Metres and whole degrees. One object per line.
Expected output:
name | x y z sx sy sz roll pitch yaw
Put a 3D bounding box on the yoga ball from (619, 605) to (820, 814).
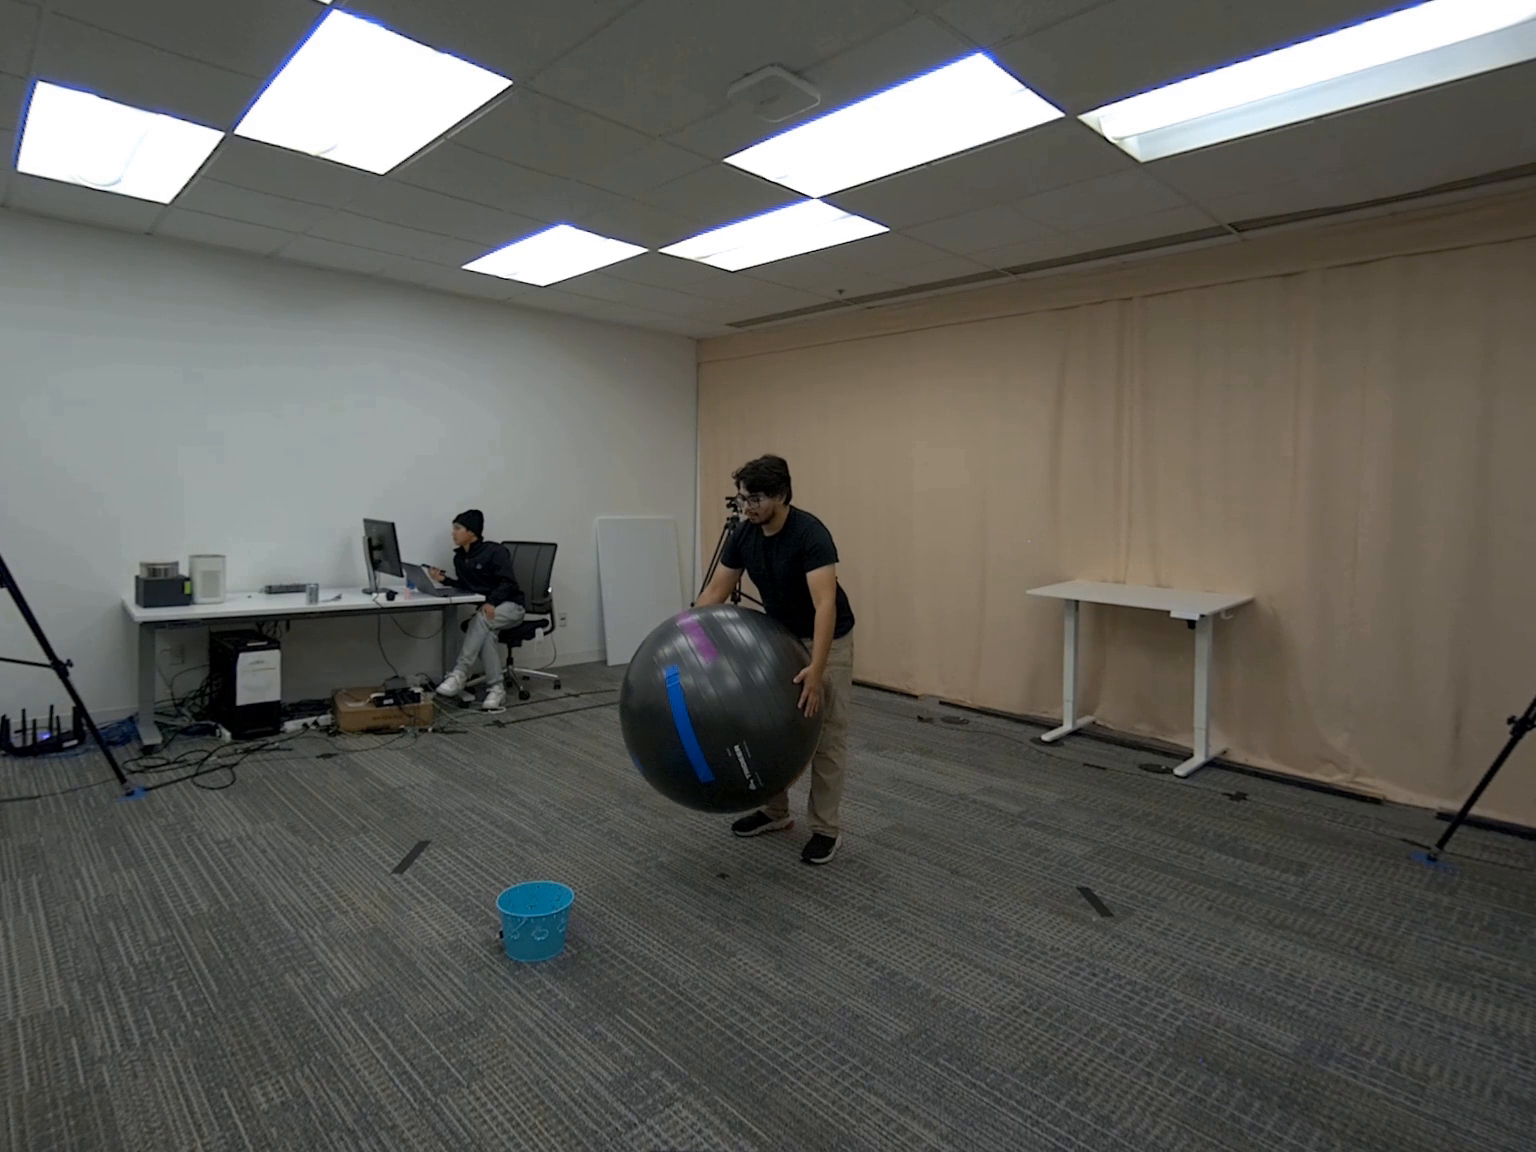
yoga ball | -0.174 0.487 3.117 0.757 0.756 0.761 1 4 -1
